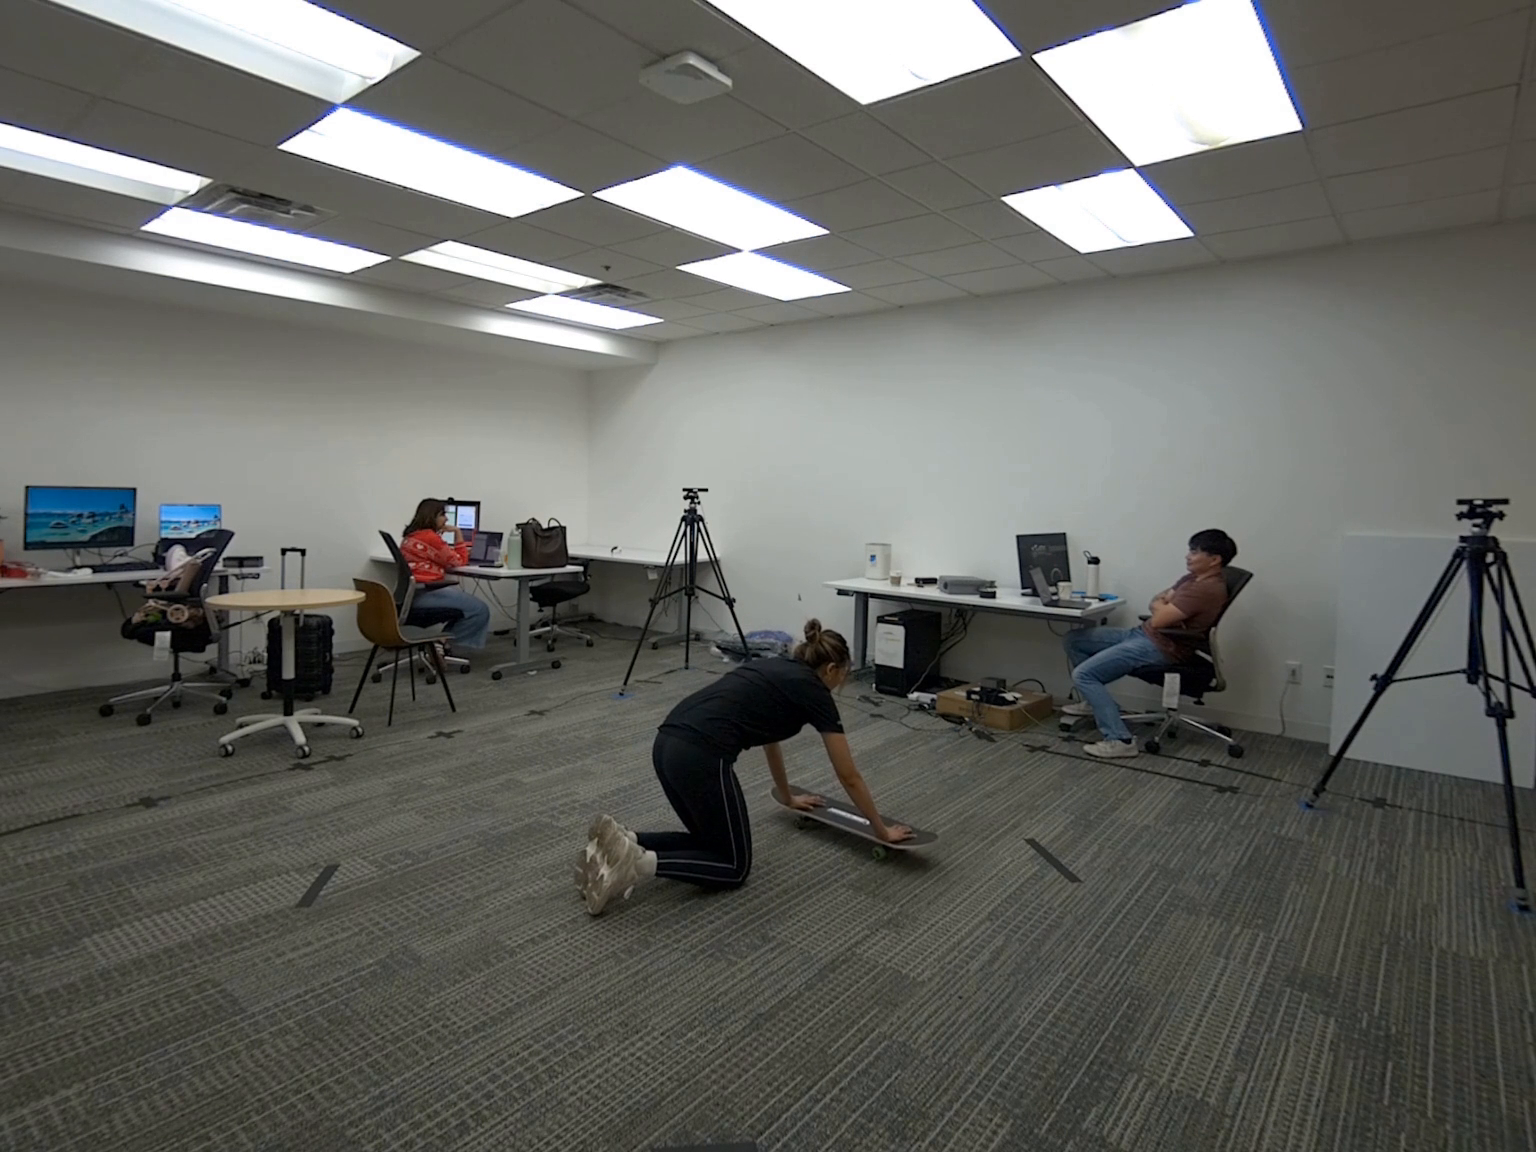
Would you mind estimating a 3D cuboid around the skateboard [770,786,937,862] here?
[{"bbox_3d":[0.314,0.996,3.415,0.813,0.110,0.188,7,9,43],"label":"skateboard"}]
